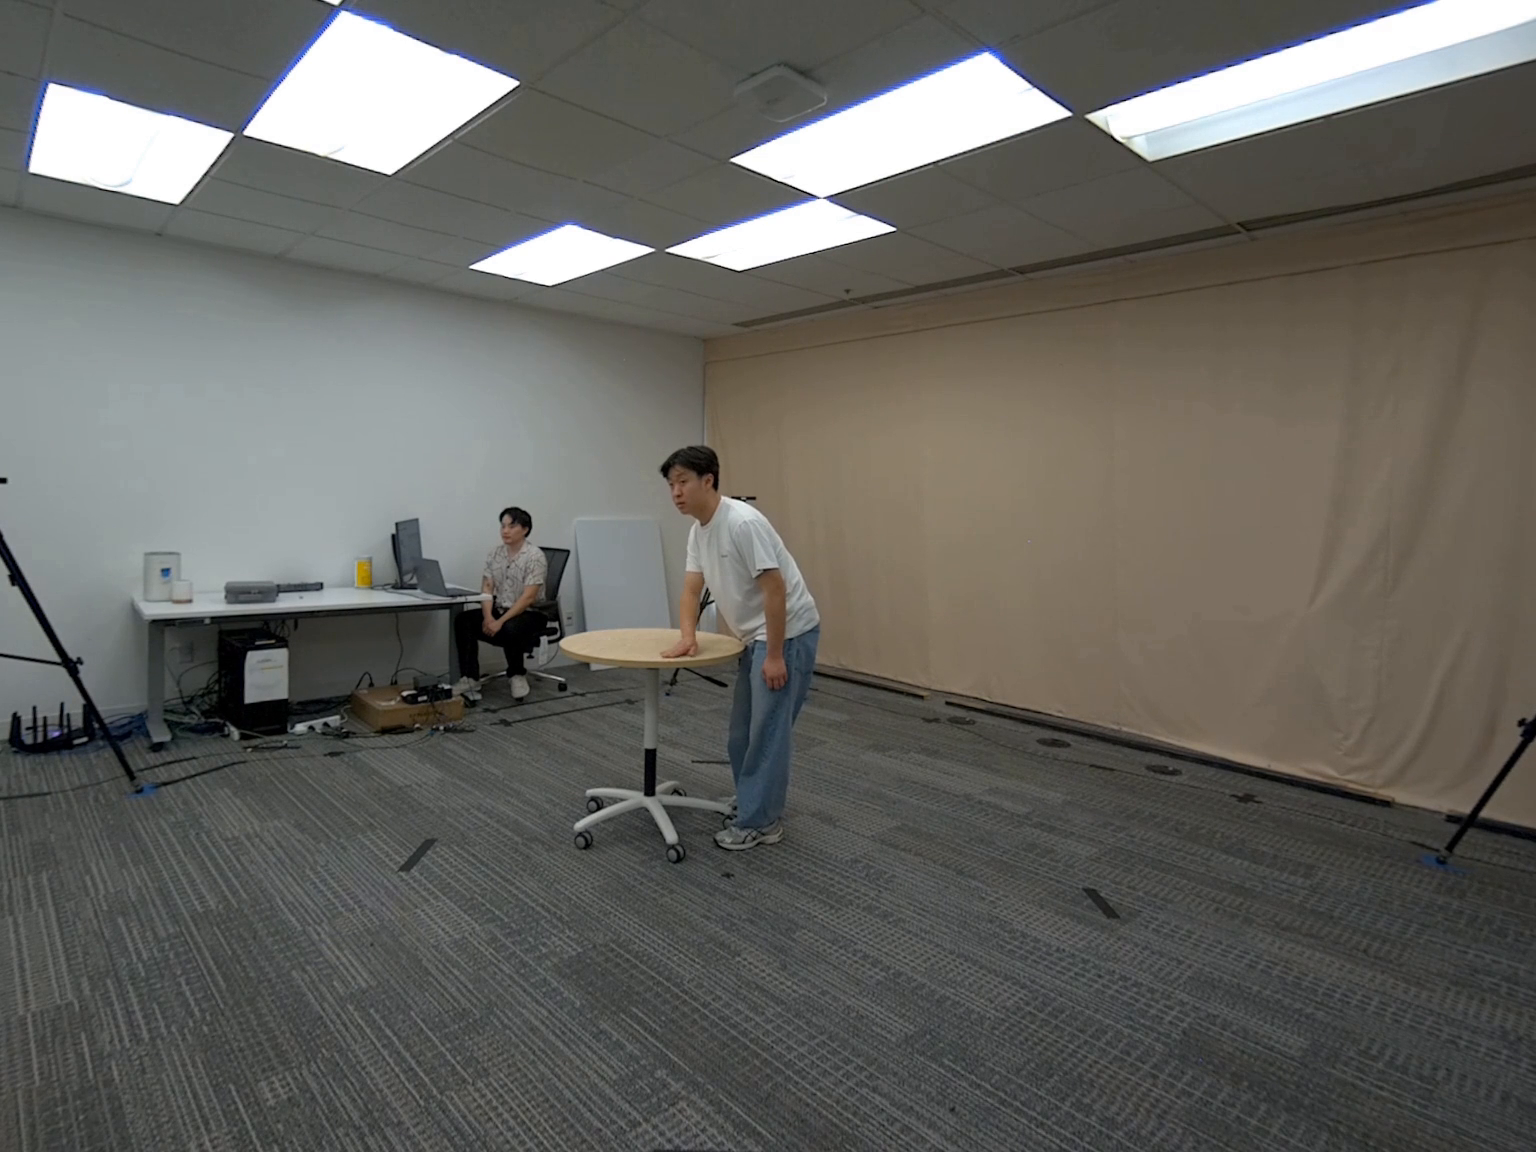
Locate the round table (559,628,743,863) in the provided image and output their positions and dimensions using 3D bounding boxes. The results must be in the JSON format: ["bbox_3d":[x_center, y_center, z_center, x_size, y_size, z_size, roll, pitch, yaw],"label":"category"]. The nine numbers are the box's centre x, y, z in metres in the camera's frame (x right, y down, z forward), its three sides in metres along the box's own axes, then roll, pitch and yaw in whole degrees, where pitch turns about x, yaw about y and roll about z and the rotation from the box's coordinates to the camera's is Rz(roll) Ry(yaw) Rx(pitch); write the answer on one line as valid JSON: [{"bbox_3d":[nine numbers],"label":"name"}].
[{"bbox_3d":[-0.496,0.669,3.506,0.763,0.792,0.766,1,4,-1],"label":"round table"}]
